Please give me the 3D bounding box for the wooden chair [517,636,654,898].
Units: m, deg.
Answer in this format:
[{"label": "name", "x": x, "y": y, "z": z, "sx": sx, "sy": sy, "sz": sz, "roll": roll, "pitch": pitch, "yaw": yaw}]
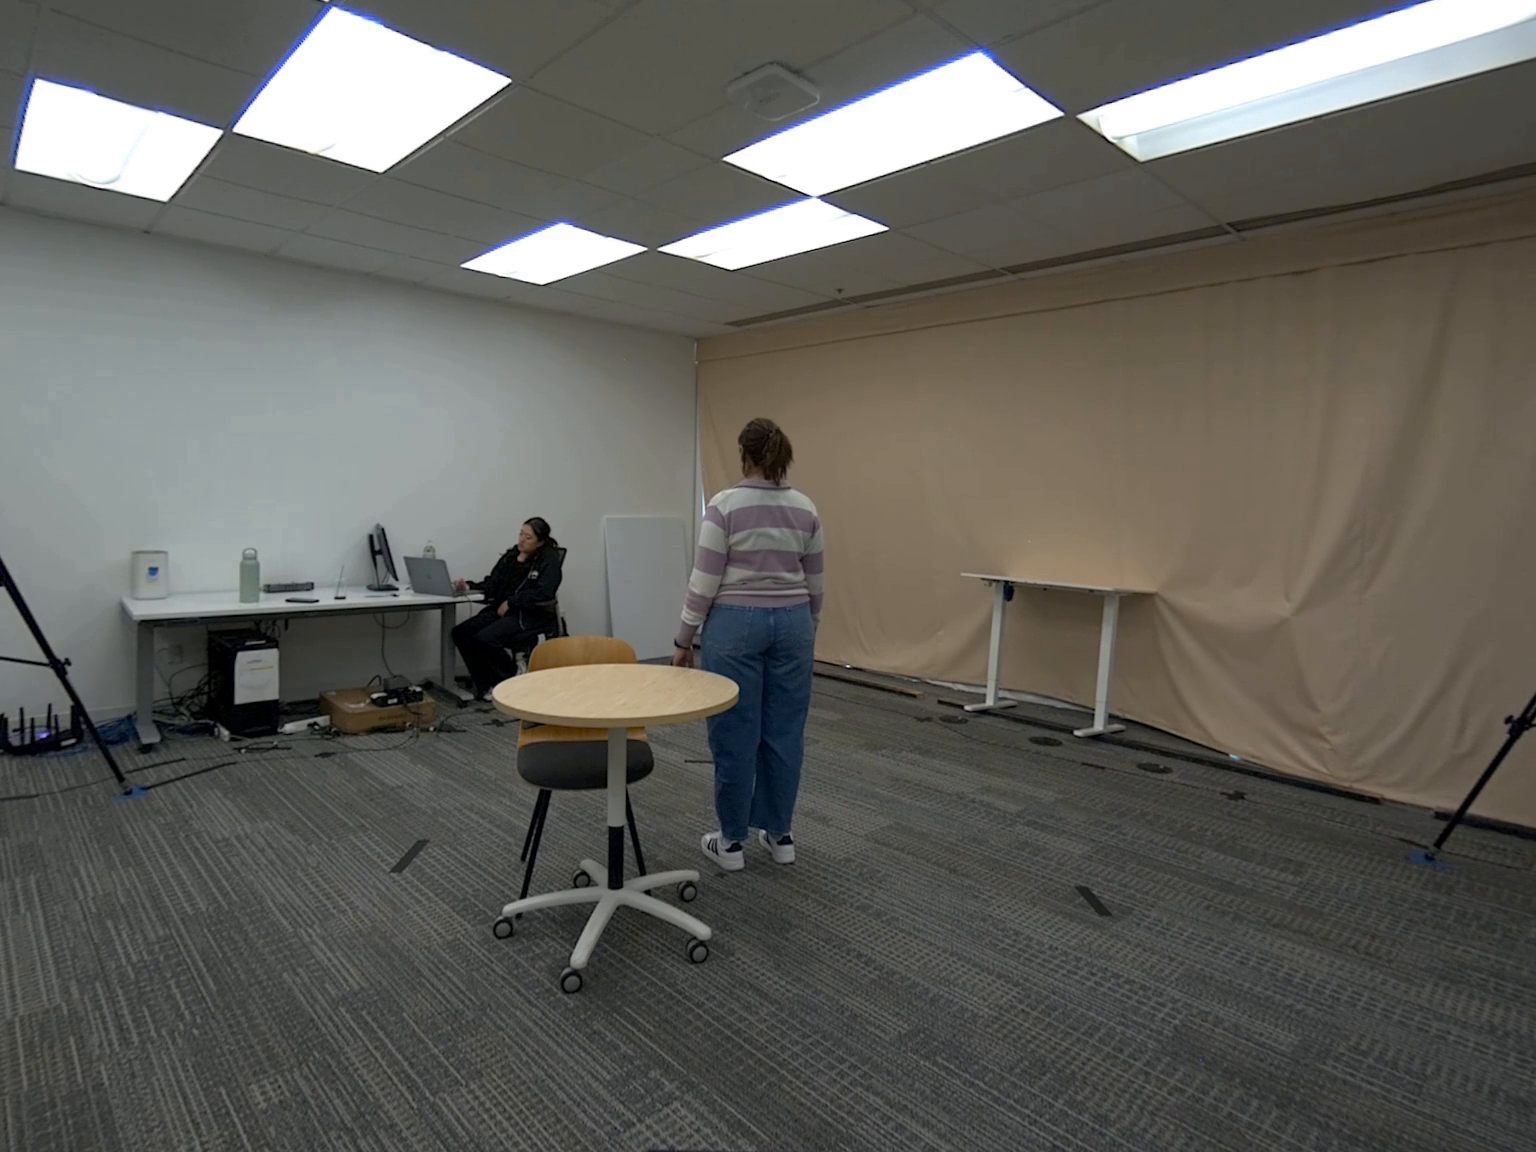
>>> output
[{"label": "wooden chair", "x": -0.651, "y": 0.678, "z": 2.969, "sx": 0.473, "sy": 0.878, "sz": 0.529, "roll": 1, "pitch": 0, "yaw": -14}]
